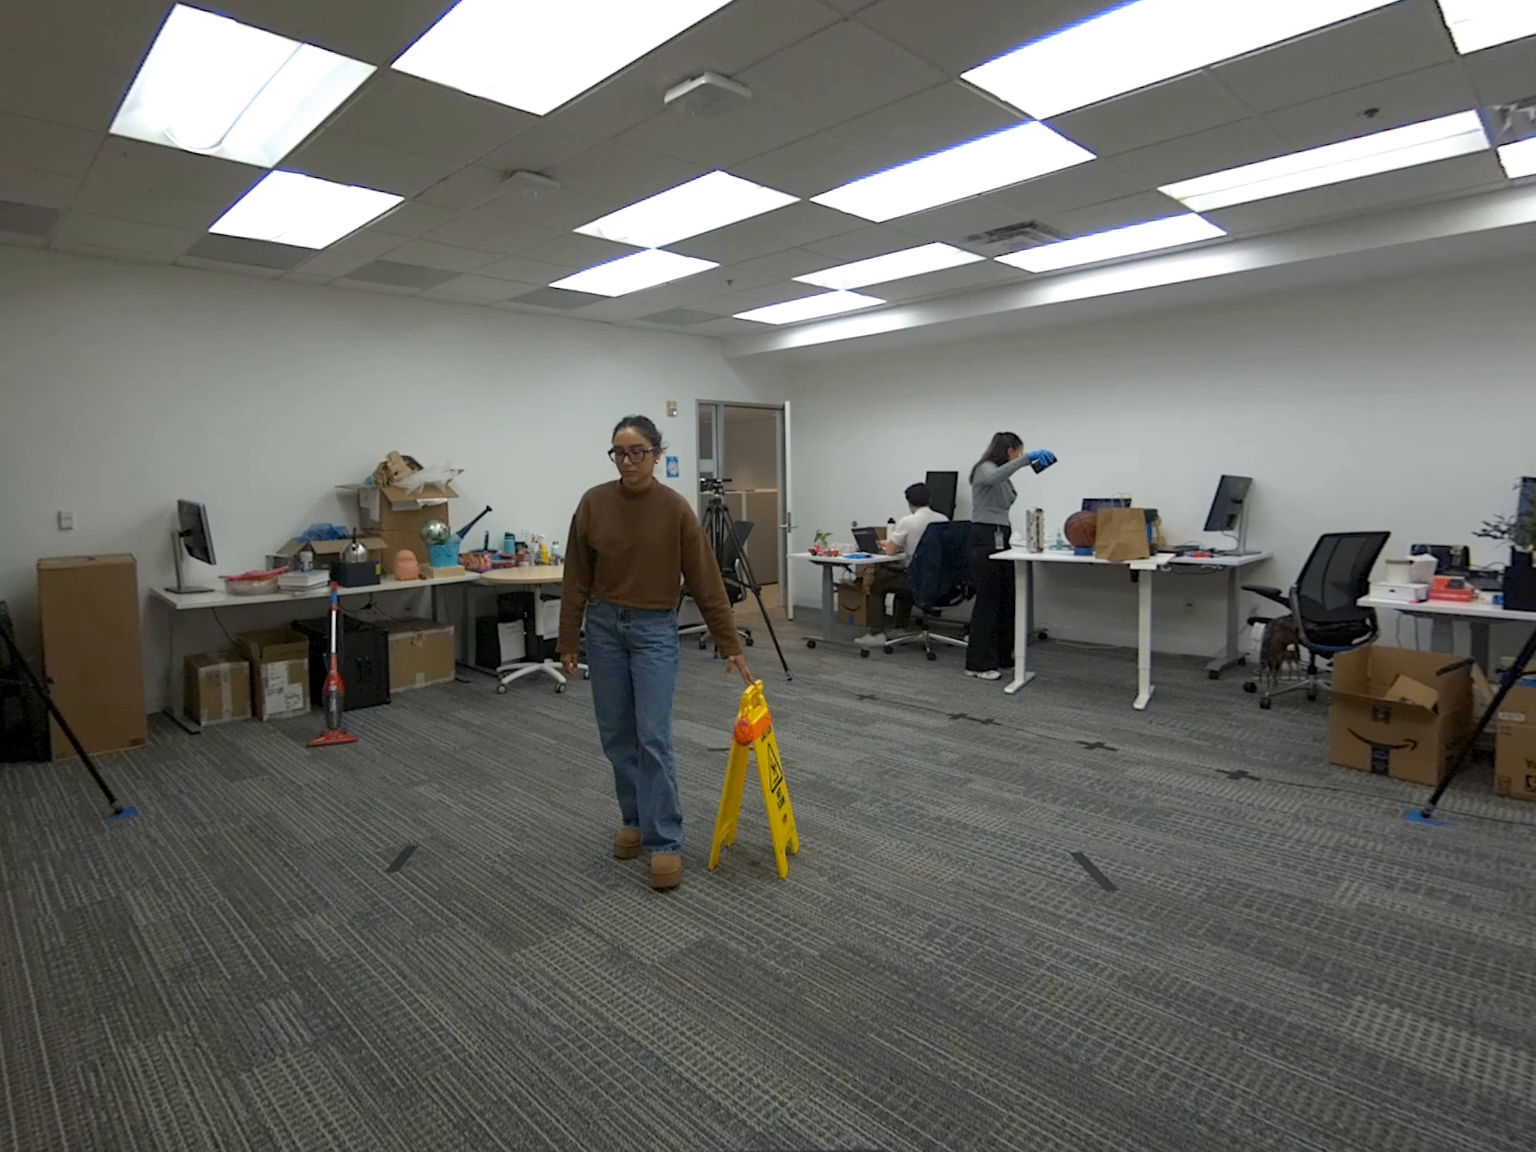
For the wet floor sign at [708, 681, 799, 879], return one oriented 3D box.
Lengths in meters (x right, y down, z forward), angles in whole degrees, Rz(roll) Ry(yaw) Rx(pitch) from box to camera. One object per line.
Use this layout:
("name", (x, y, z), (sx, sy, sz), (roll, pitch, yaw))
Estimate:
("wet floor sign", (-0.055, 0.713, 3.125), (0.294, 0.645, 0.278), (0, 3, 15))
